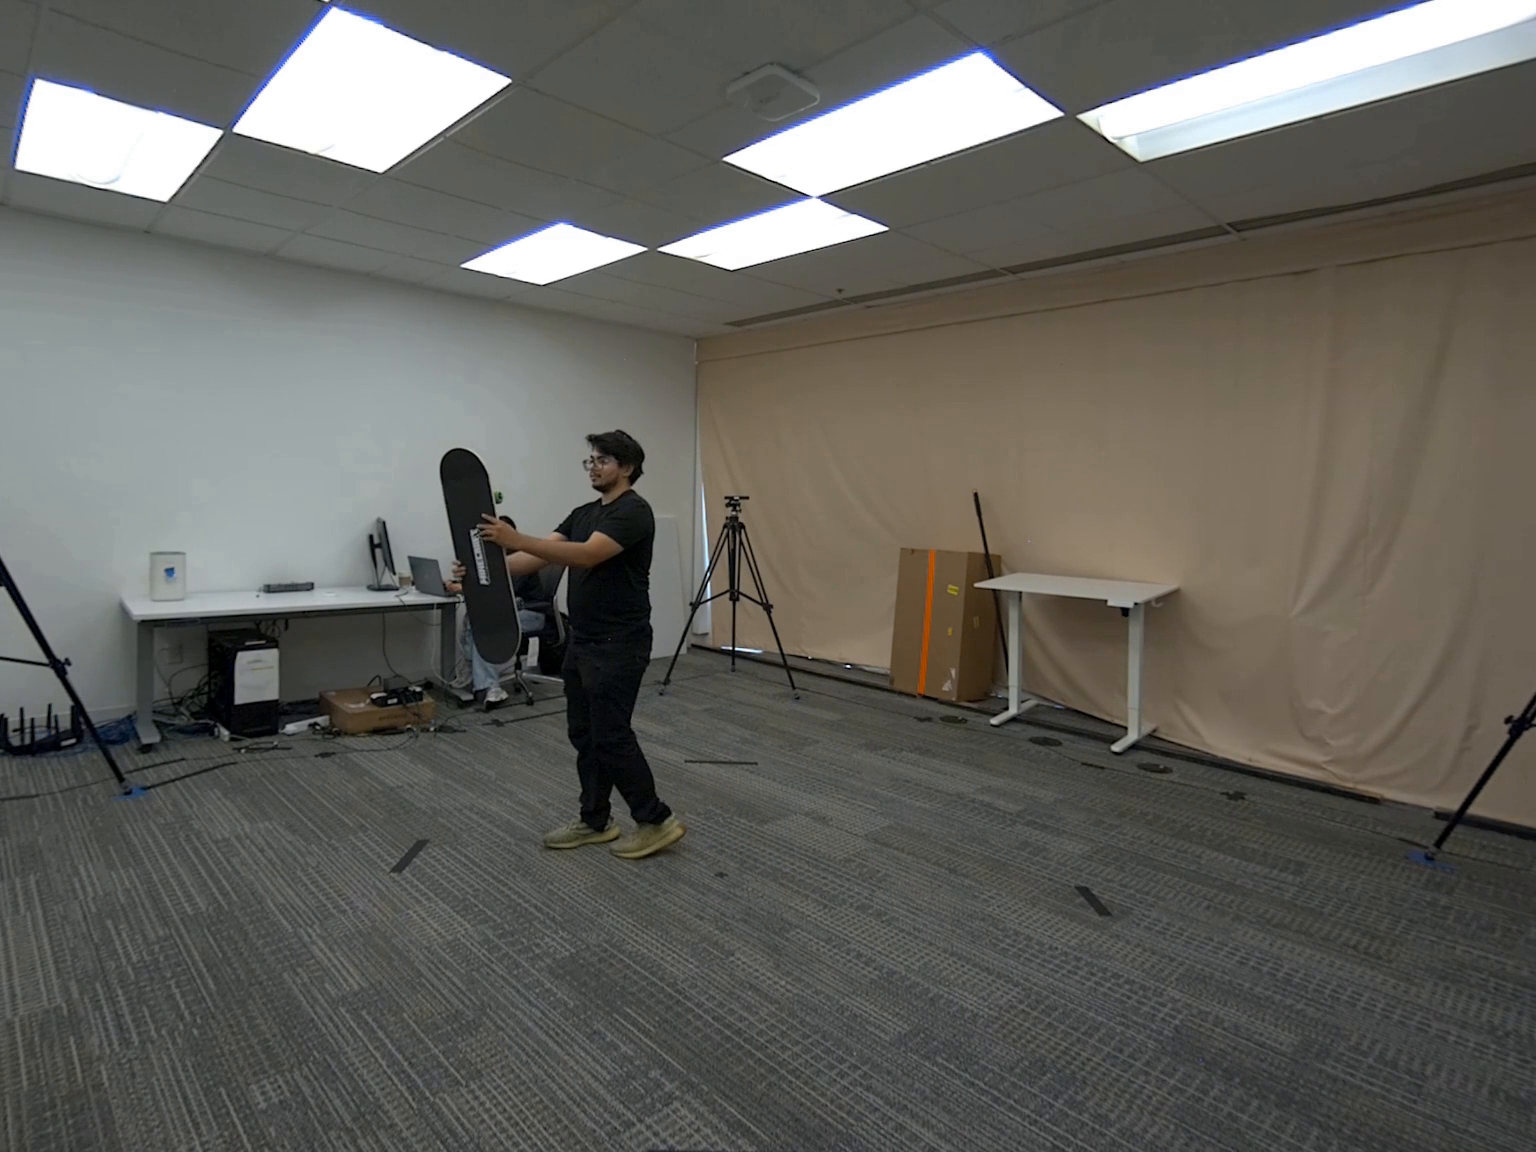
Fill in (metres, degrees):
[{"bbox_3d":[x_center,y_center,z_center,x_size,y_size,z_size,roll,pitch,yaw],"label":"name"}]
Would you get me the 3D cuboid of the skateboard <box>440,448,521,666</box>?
[{"bbox_3d":[-1.032,-0.072,3.059,0.195,0.782,0.110,-7,5,13],"label":"skateboard"}]
